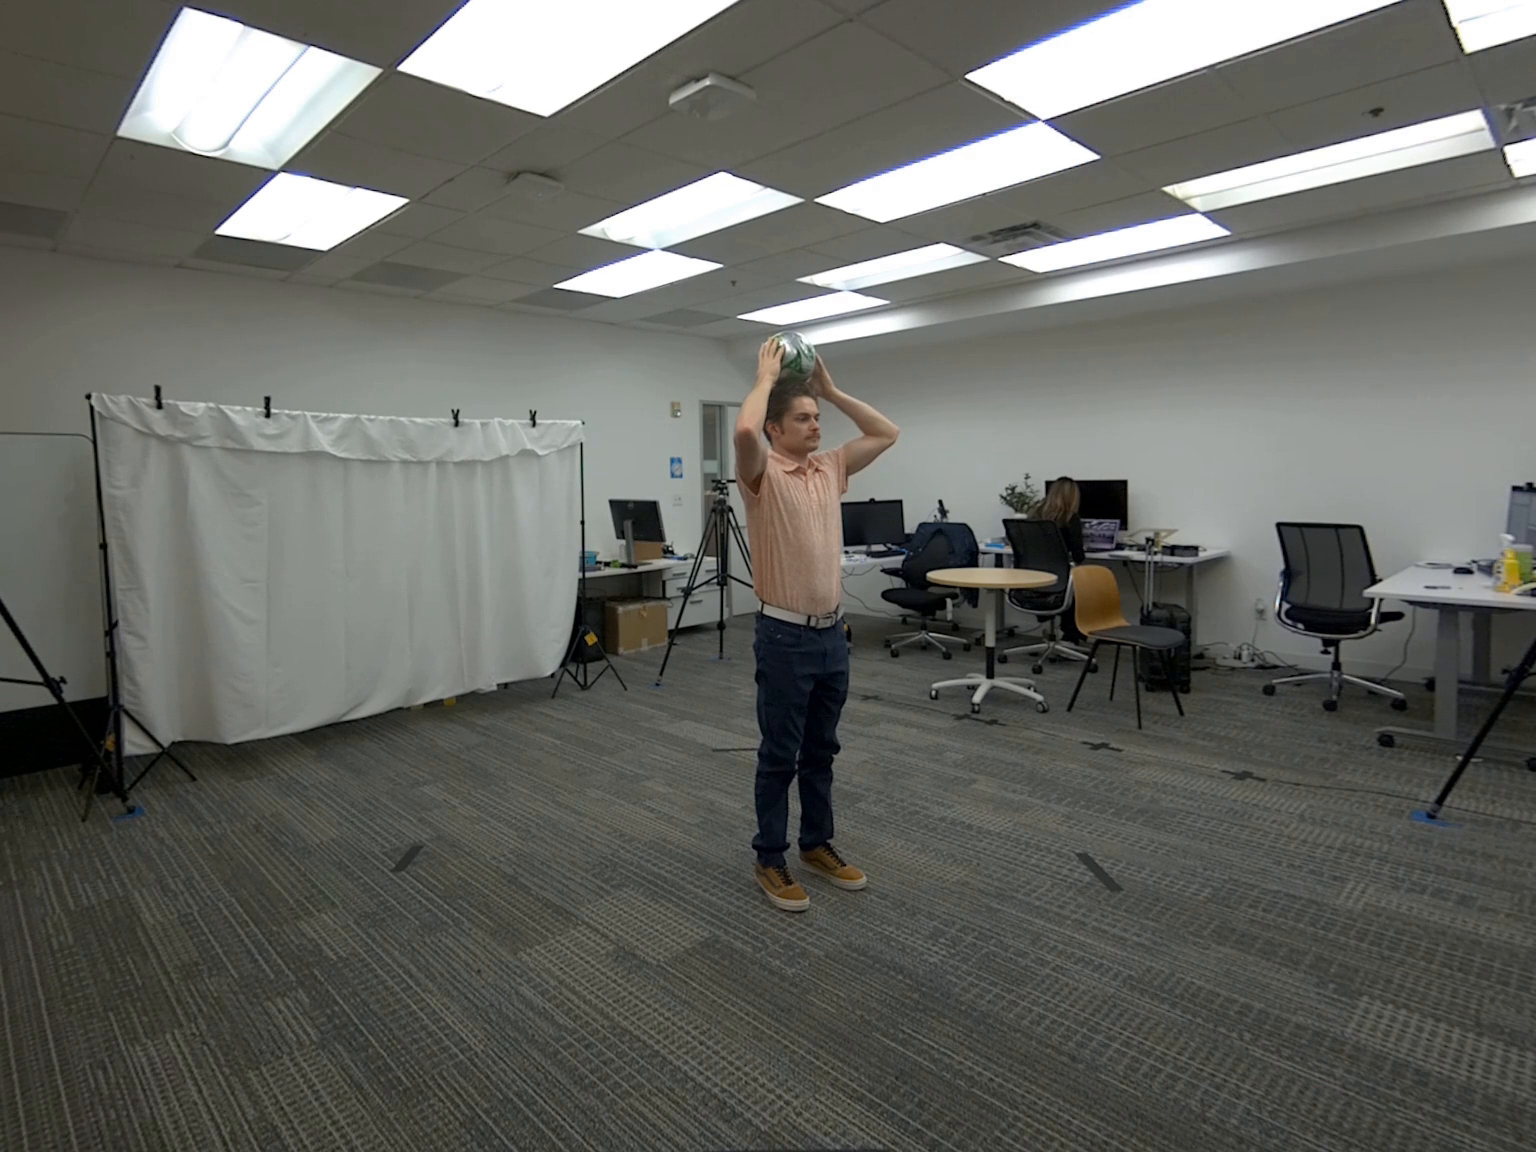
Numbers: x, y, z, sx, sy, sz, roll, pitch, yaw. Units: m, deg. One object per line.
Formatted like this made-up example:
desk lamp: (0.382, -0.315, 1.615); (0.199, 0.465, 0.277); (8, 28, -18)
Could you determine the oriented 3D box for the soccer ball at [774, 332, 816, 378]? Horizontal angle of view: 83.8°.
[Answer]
soccer ball: (0.070, -0.721, 2.883); (0.187, 0.187, 0.188); (-1, 5, -2)
